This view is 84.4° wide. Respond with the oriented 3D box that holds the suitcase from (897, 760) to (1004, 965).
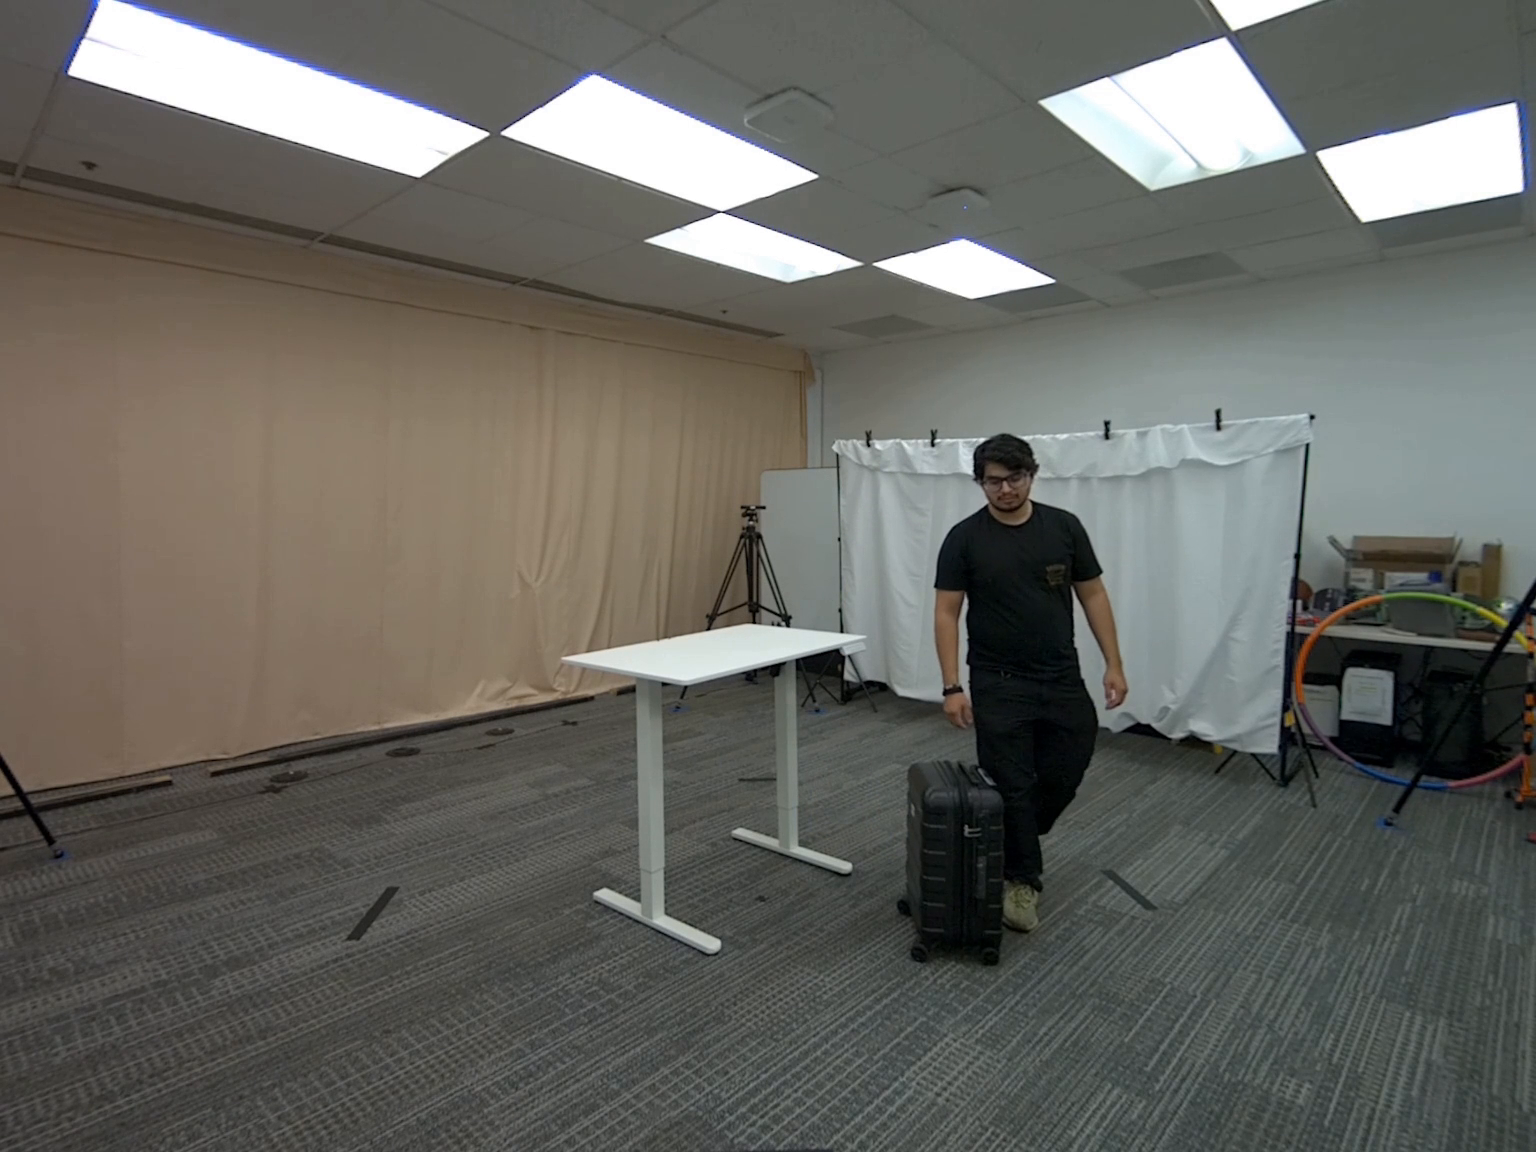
[{"bbox_3d":[0.596,0.895,2.685,0.248,0.548,0.376,1,4,-1],"label":"suitcase"}]
